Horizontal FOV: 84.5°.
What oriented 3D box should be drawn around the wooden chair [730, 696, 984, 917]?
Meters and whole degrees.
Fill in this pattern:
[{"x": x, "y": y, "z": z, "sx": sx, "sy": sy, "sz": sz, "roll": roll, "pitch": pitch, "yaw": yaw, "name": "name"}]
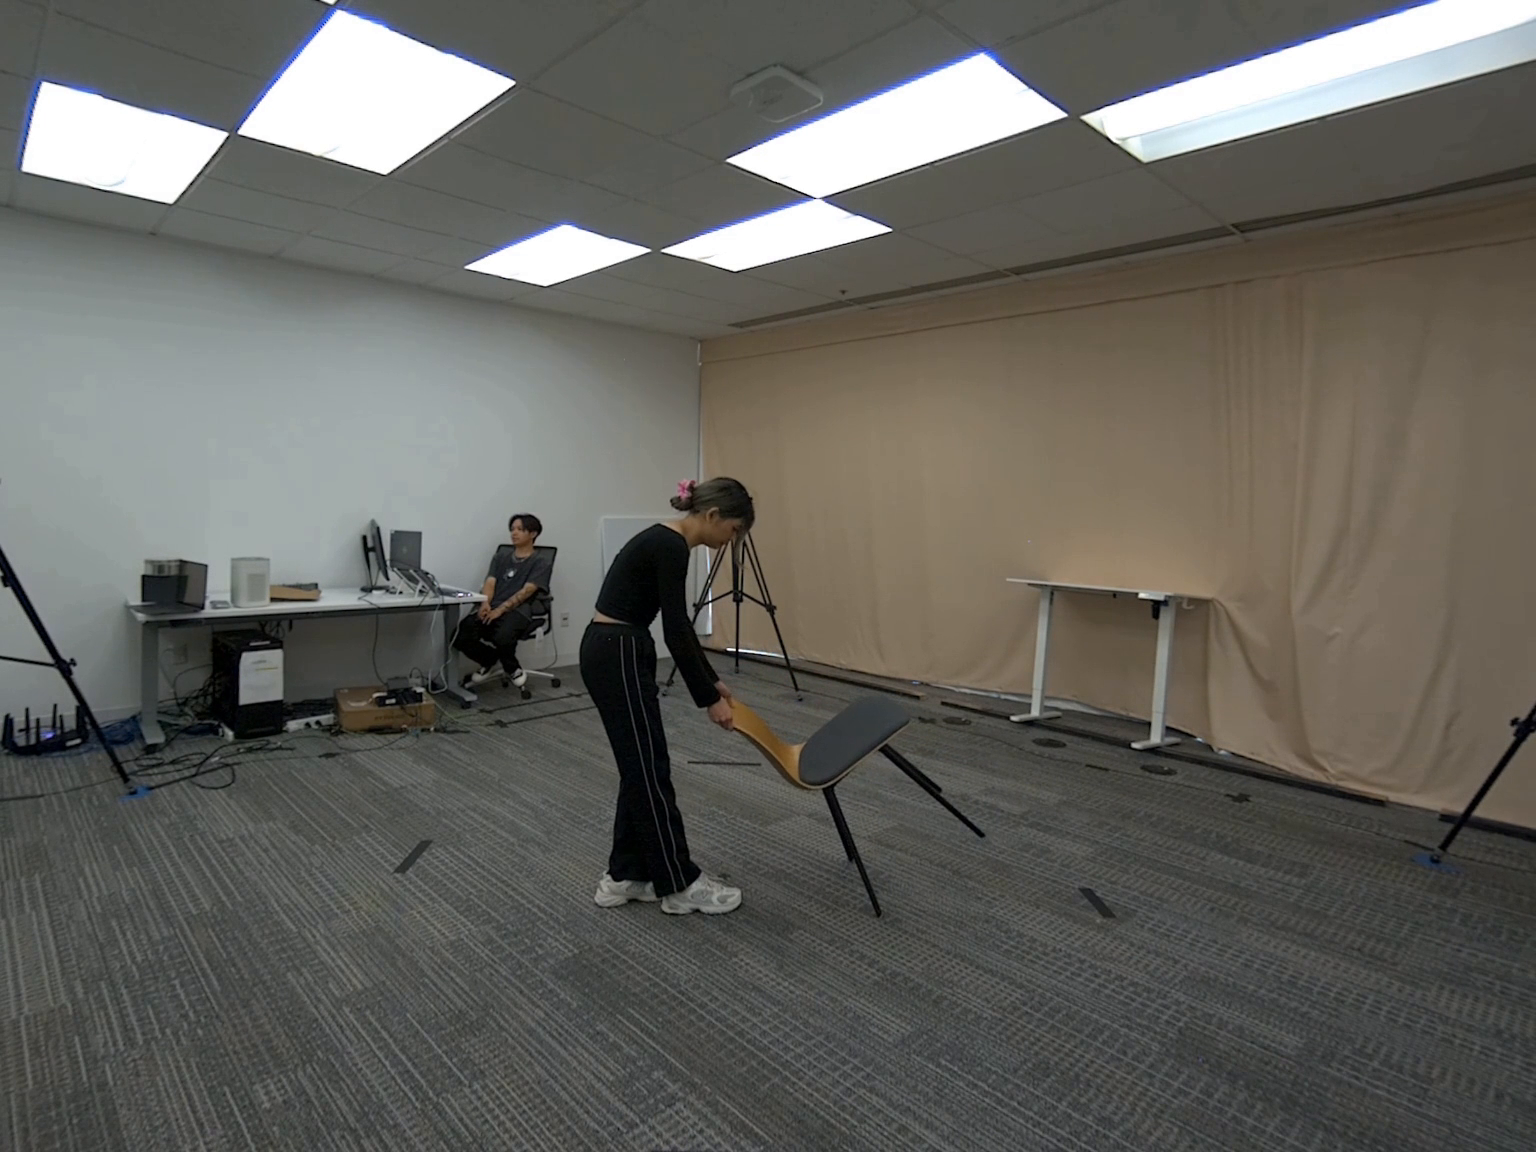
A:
[{"x": 0.272, "y": 0.641, "z": 3.005, "sx": 0.523, "sy": 0.872, "sz": 0.481, "roll": -41, "pitch": 6, "yaw": -1, "name": "wooden chair"}]
